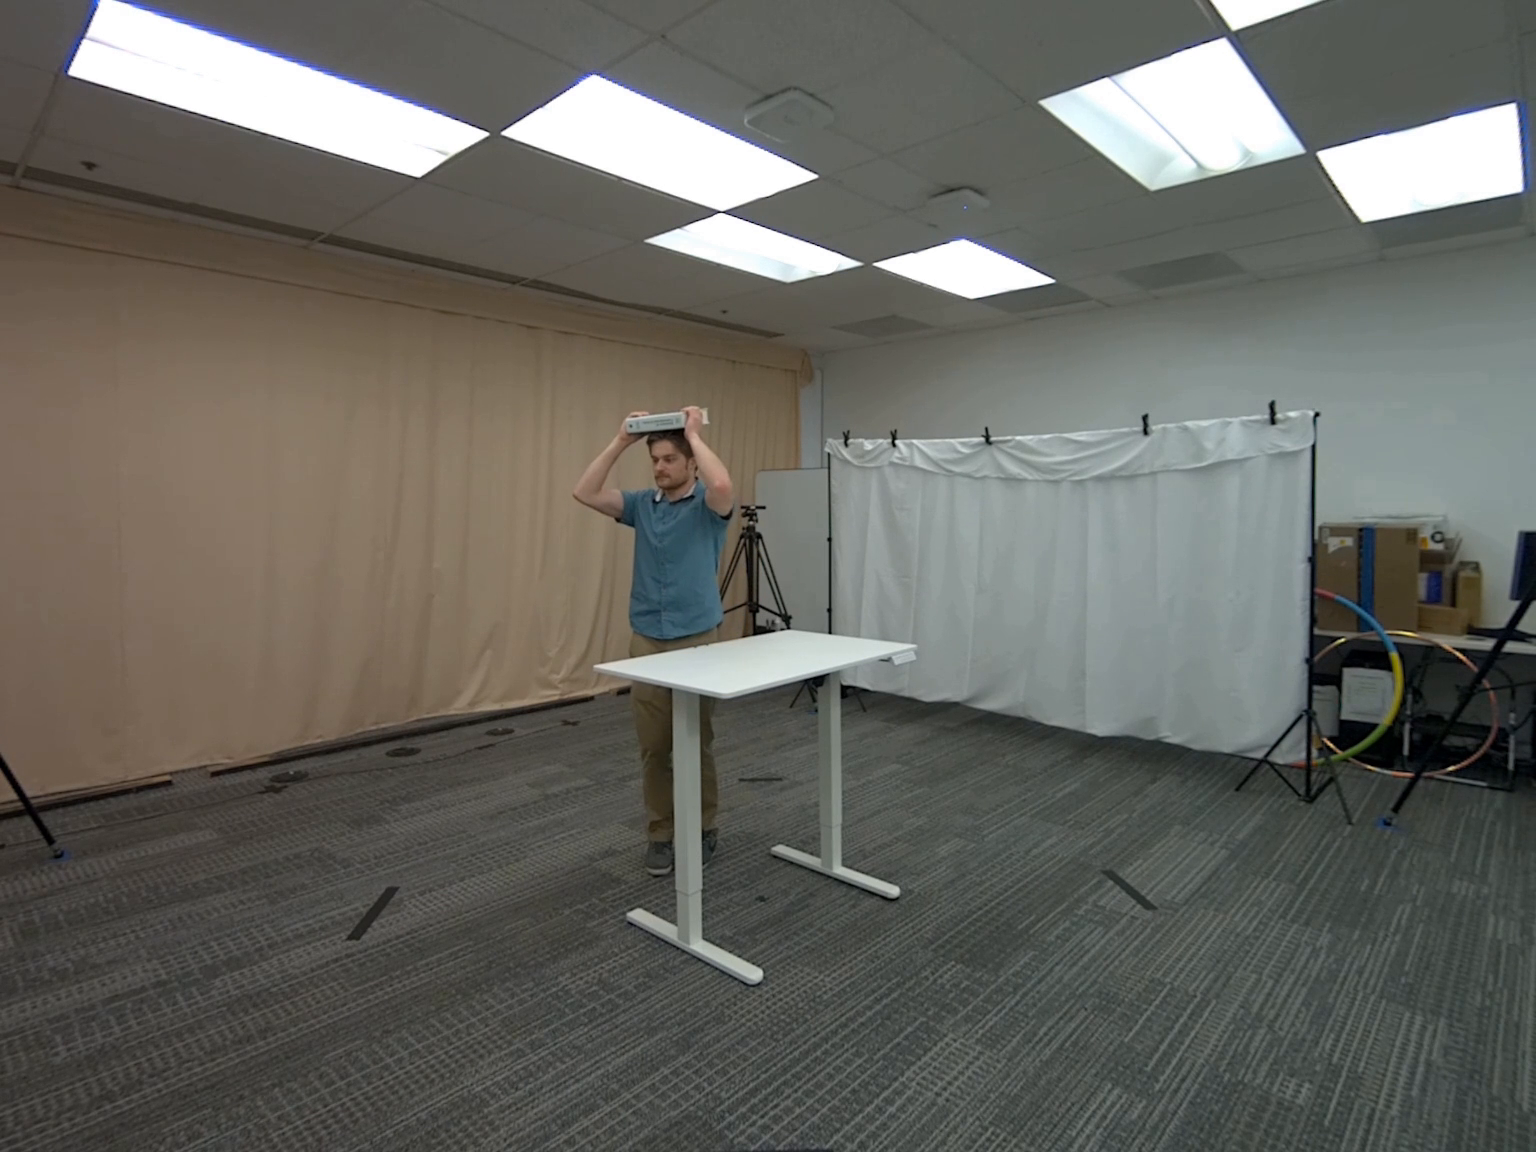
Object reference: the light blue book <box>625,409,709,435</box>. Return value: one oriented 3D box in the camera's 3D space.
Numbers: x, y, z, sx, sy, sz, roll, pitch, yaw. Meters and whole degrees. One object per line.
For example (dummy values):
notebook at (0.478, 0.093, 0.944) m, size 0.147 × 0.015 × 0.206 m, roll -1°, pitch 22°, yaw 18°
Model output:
light blue book at (-0.380, -0.590, 3.224) m, size 0.268 × 0.058 × 0.187 m, roll 0°, pitch 13°, yaw 31°
